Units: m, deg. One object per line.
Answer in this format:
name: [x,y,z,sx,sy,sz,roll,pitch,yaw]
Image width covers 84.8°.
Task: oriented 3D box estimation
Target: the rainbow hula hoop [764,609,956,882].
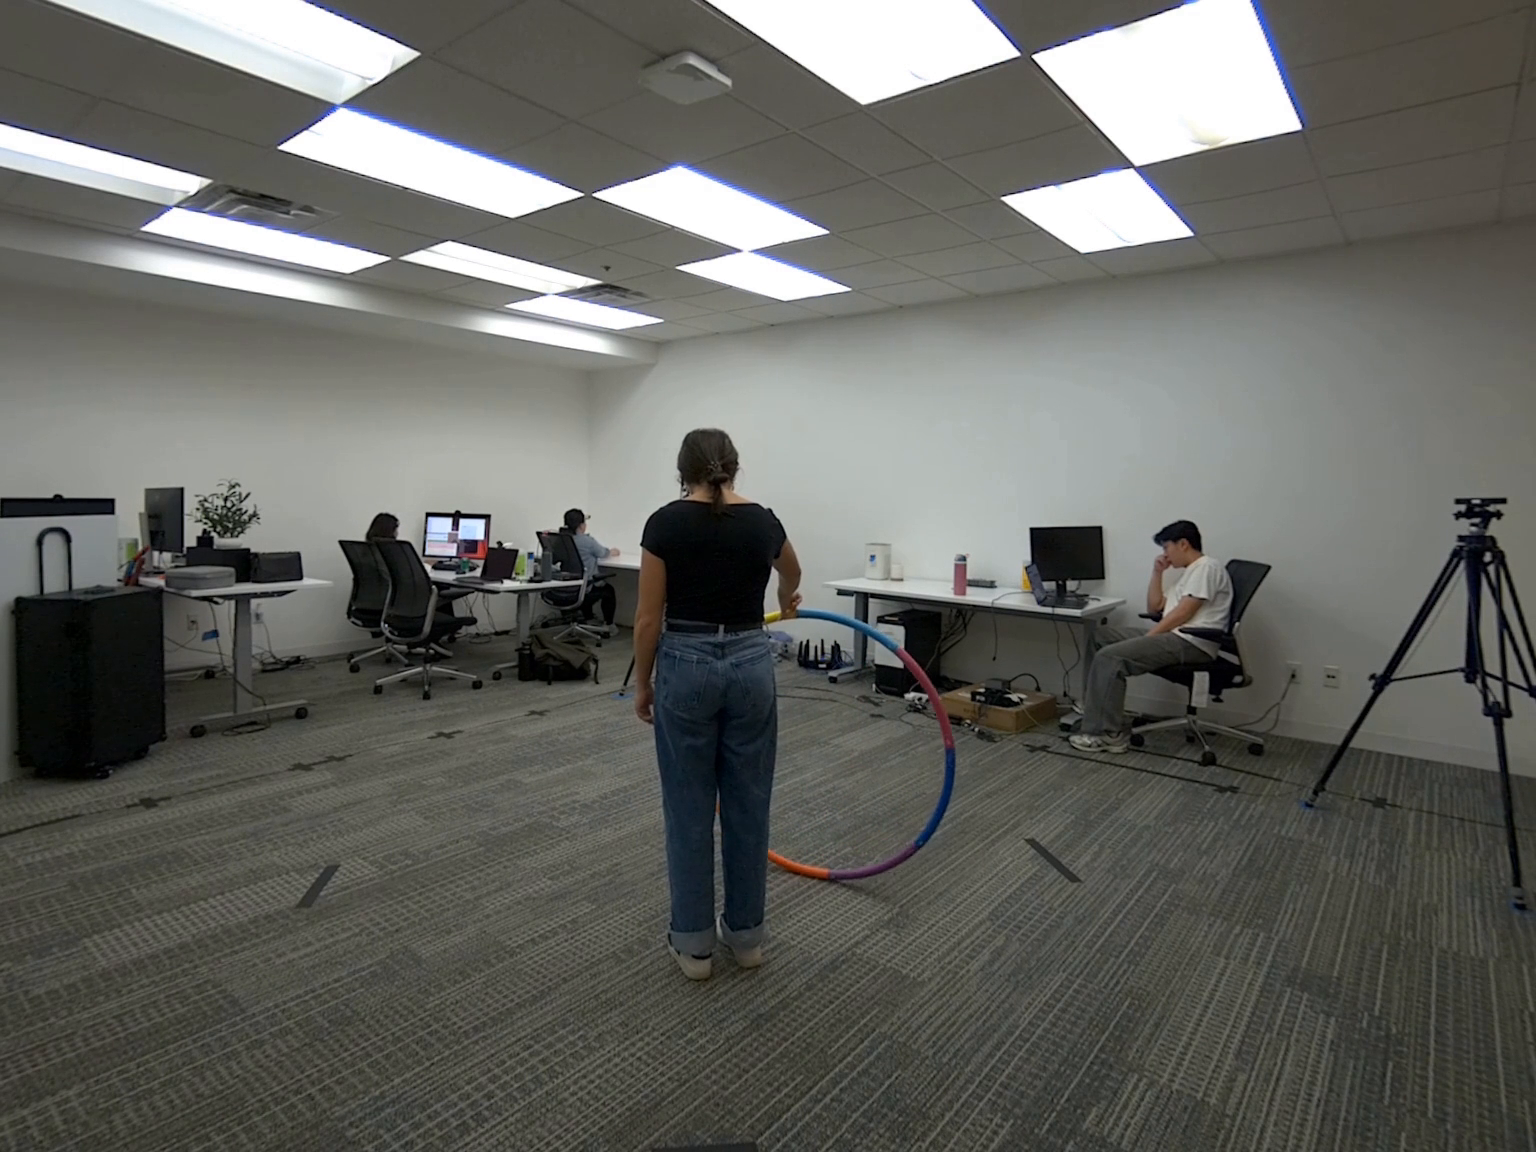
rainbow hula hoop: [0.161,0.595,3.025,1.004,0.973,0.035,3,7,26]
